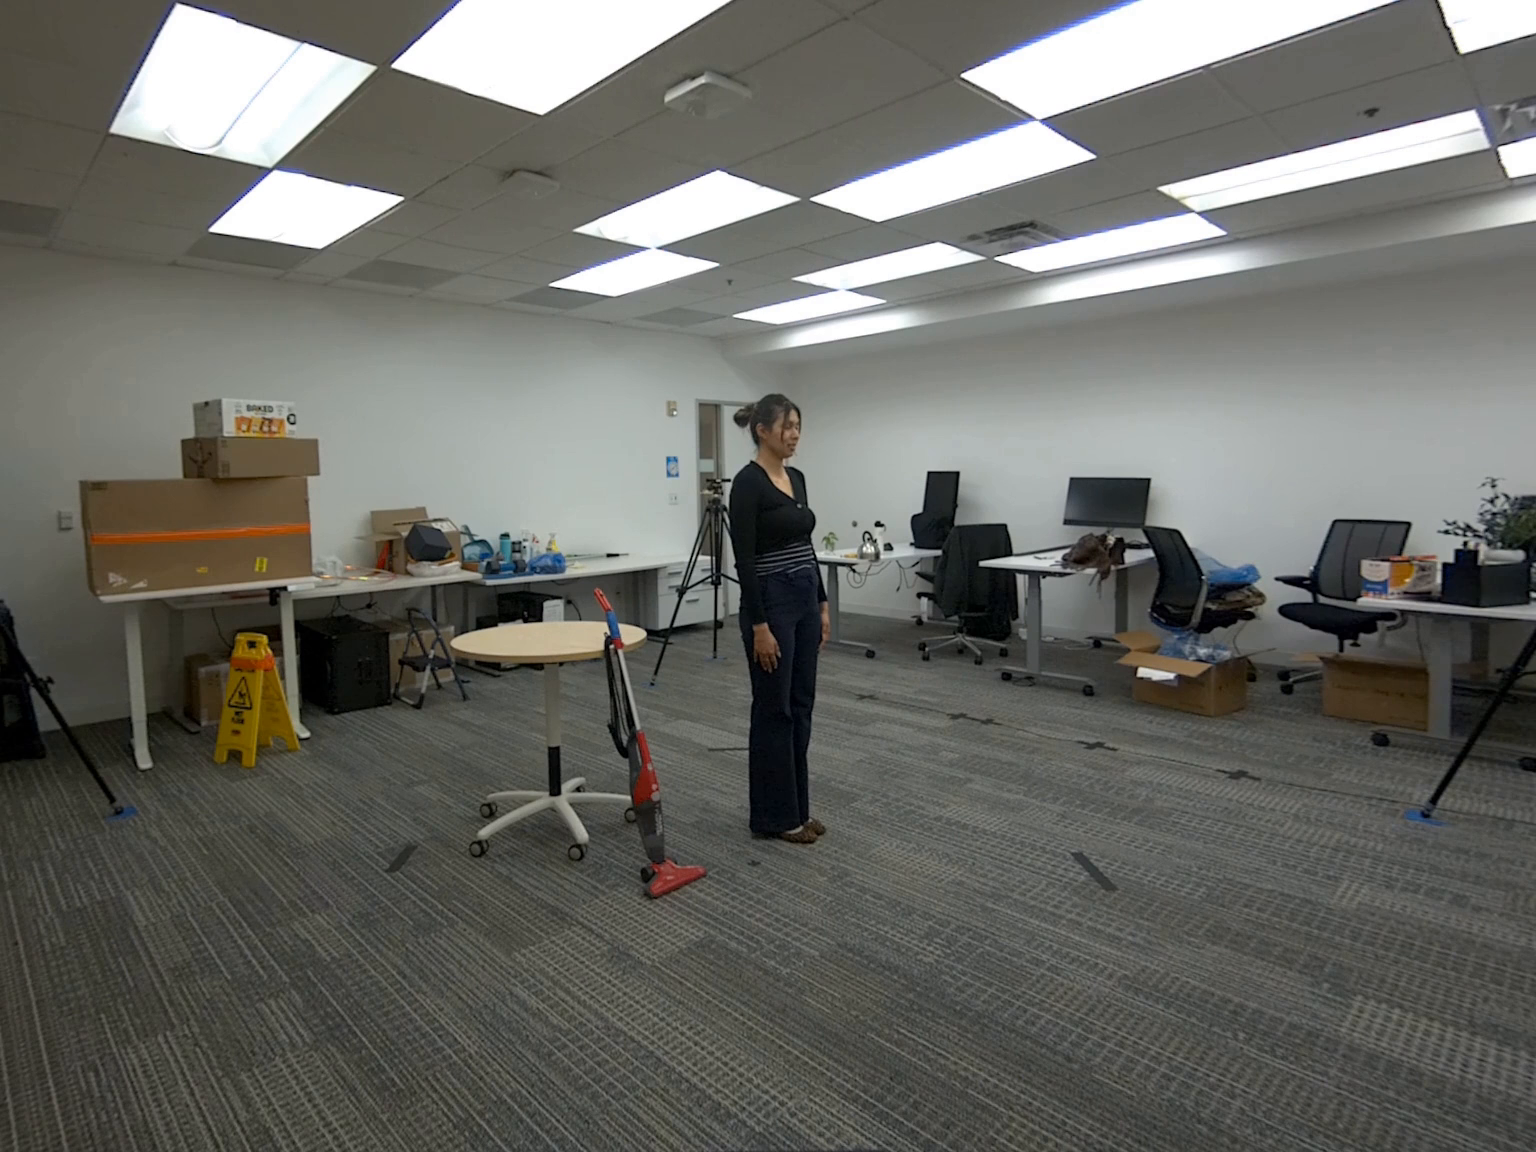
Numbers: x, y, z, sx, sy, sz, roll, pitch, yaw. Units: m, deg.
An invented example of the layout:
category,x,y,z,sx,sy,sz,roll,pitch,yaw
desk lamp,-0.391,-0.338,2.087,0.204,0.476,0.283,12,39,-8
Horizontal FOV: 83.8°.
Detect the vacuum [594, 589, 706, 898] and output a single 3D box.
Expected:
category,x,y,z,sx,sy,sz,roll,pitch,yaw
vacuum,-0.493,0.562,3.082,0.246,1.063,0.146,-5,-17,-47
